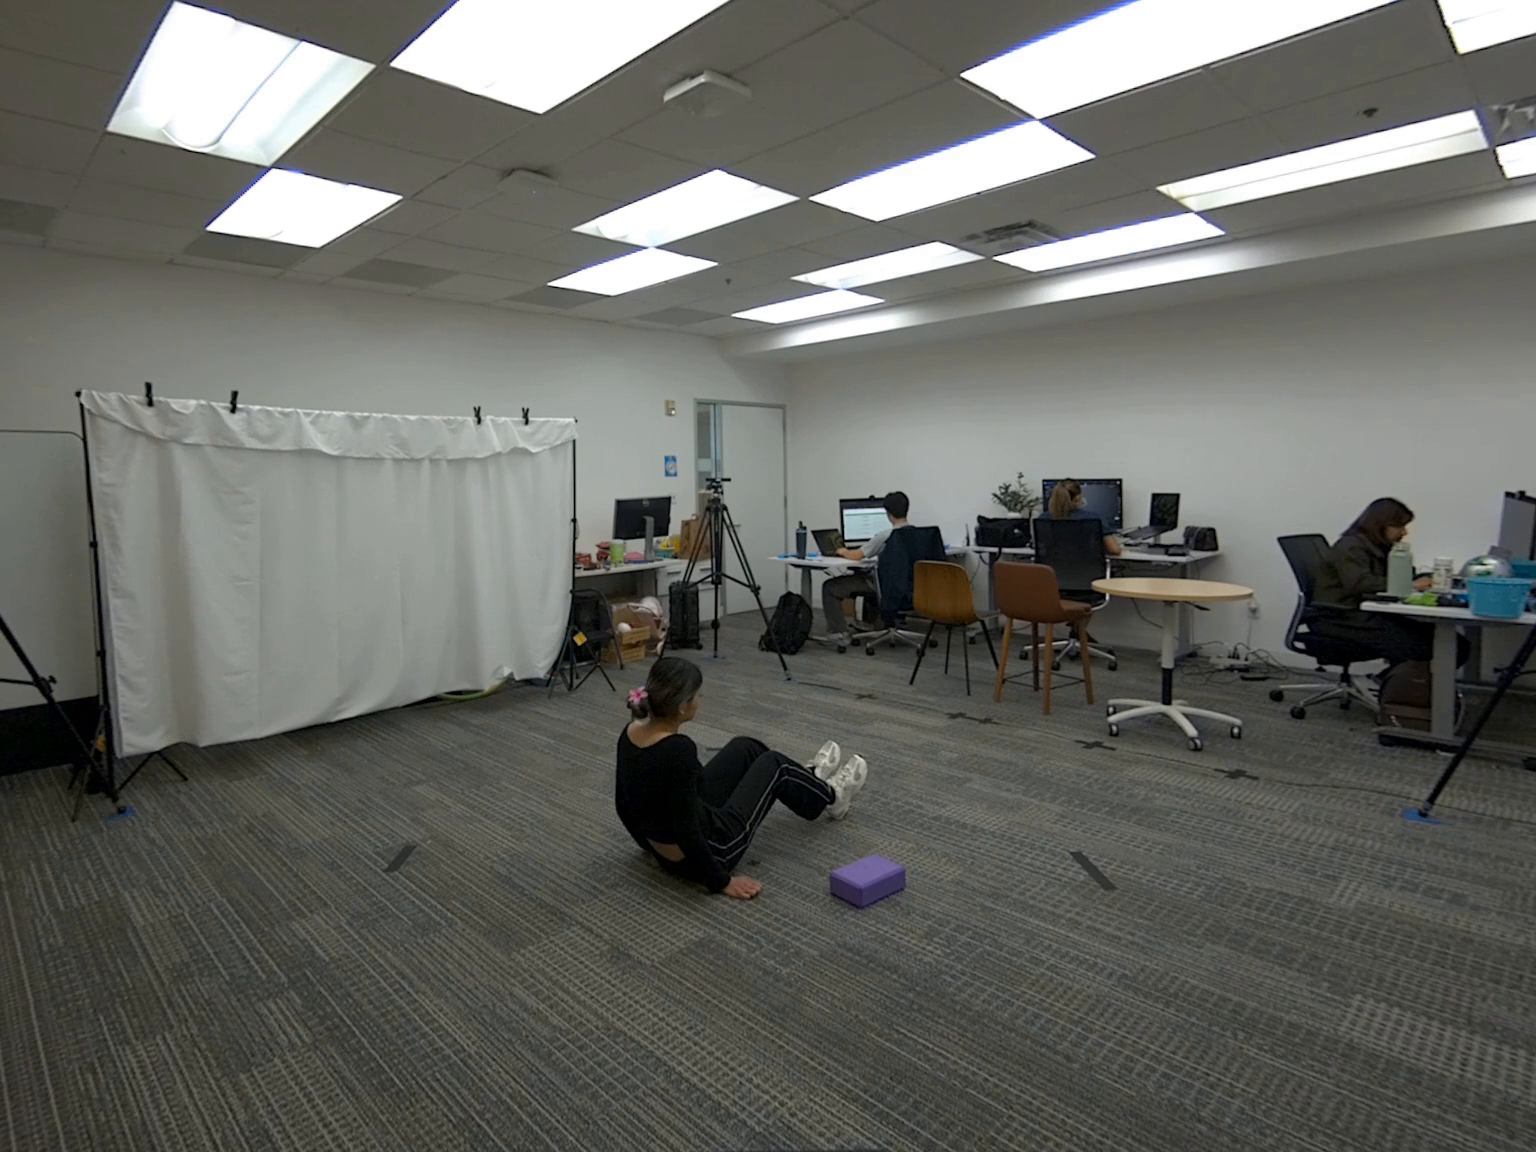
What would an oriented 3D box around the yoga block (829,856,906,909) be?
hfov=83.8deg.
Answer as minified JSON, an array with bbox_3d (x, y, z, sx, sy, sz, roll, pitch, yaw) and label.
[{"bbox_3d":[0.334,1.014,2.875,0.223,0.076,0.153,-5,8,-39],"label":"yoga block"}]
